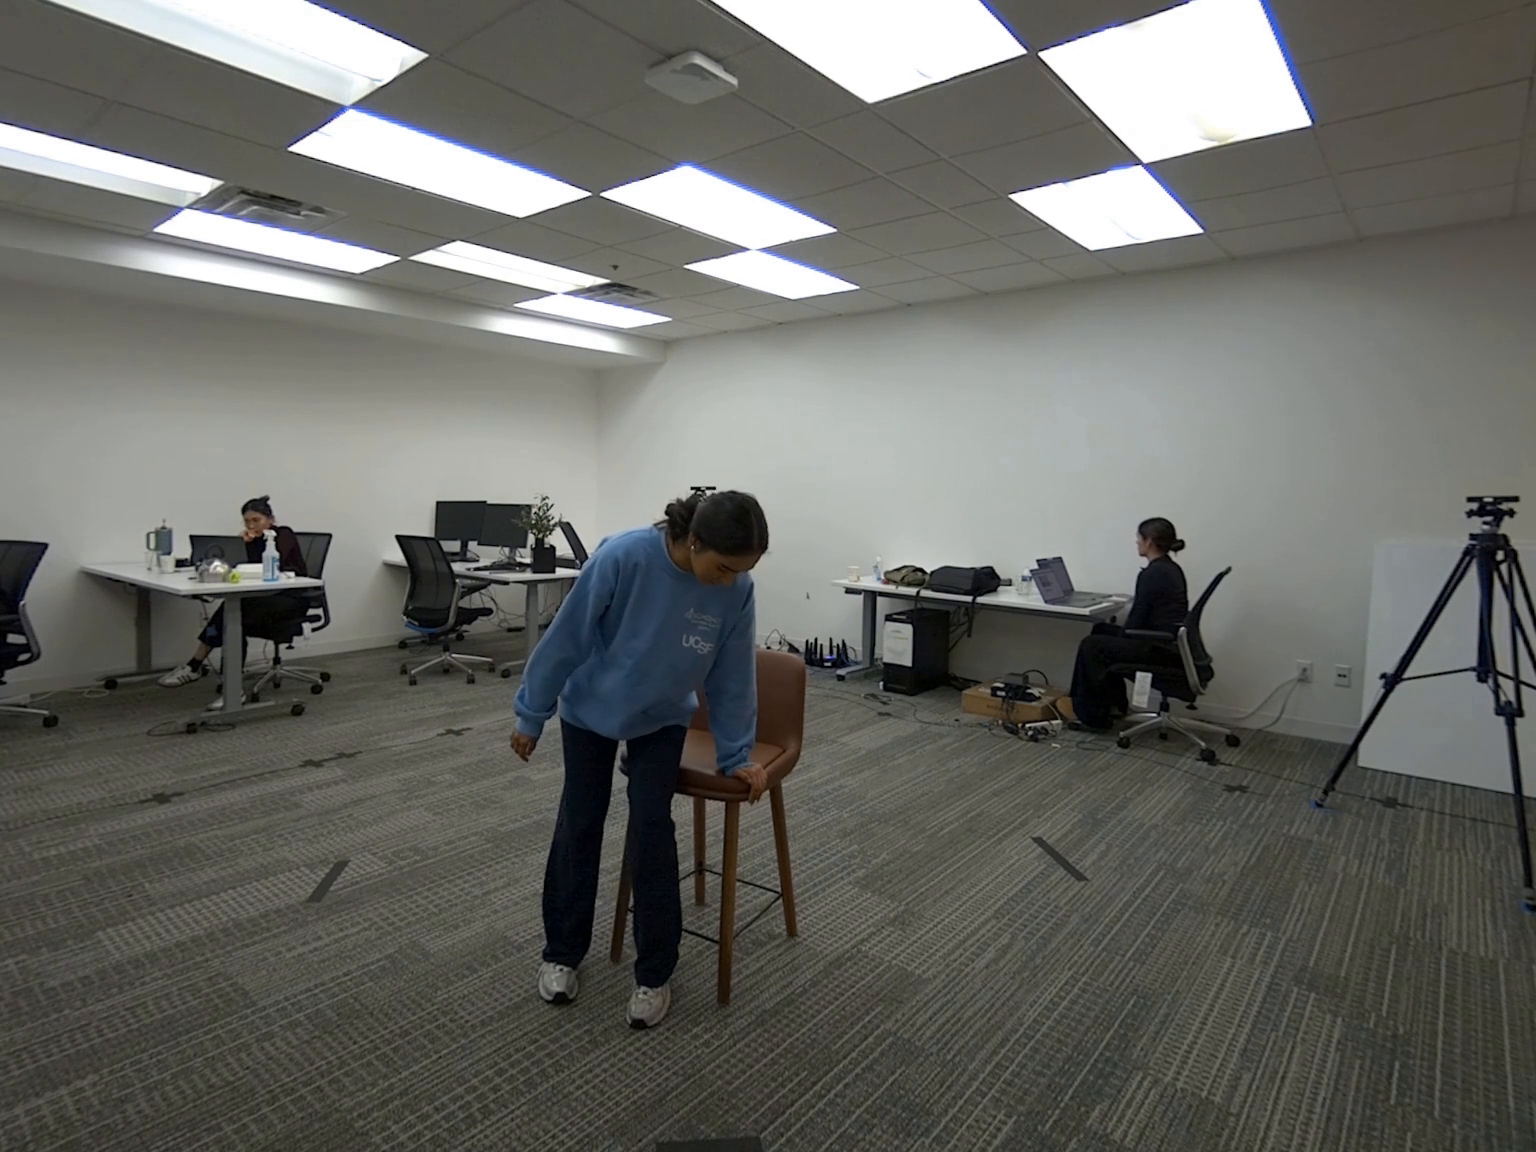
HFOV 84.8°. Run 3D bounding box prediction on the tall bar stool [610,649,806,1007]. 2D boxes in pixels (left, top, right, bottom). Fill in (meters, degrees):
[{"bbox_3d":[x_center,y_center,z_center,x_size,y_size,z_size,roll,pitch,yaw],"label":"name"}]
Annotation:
[{"bbox_3d":[-0.170,0.688,2.547,0.470,0.887,0.455,4,3,31],"label":"tall bar stool"}]
